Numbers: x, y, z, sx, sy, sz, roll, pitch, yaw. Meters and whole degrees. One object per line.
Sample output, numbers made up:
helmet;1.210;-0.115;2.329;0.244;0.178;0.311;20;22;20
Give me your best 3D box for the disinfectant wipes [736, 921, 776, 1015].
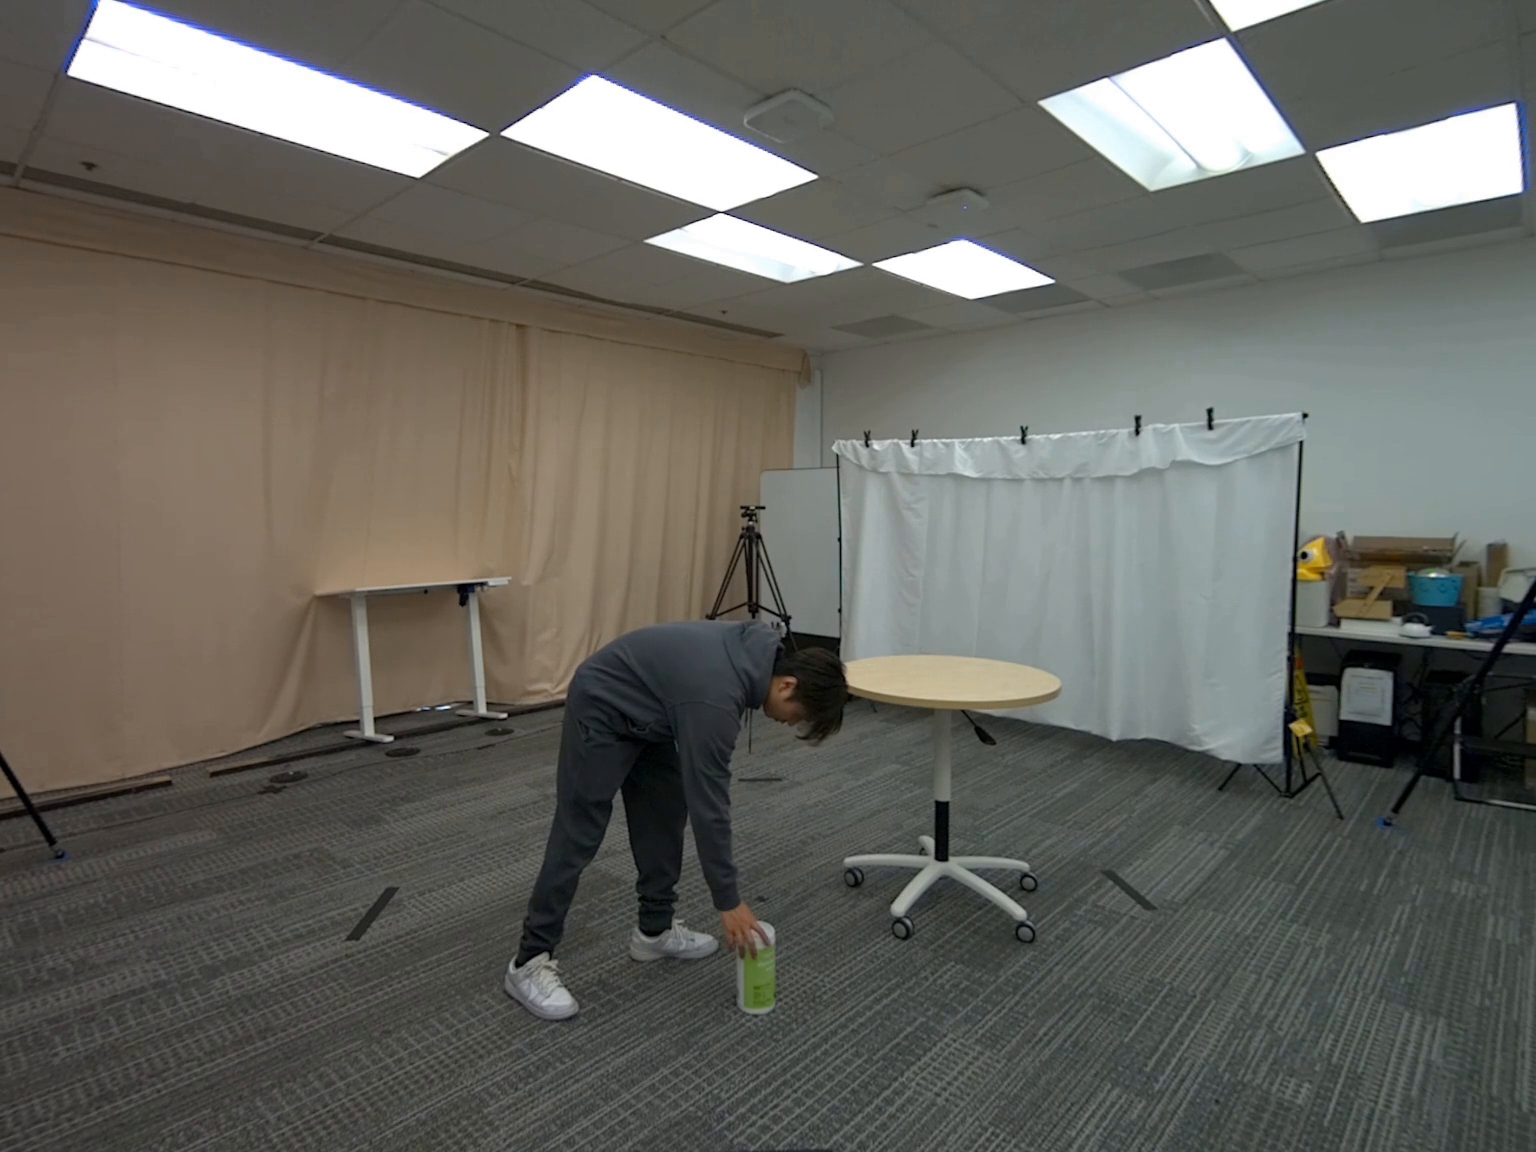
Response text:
disinfectant wipes;-0.031;1.098;2.335;0.117;0.217;0.118;1;4;-2
